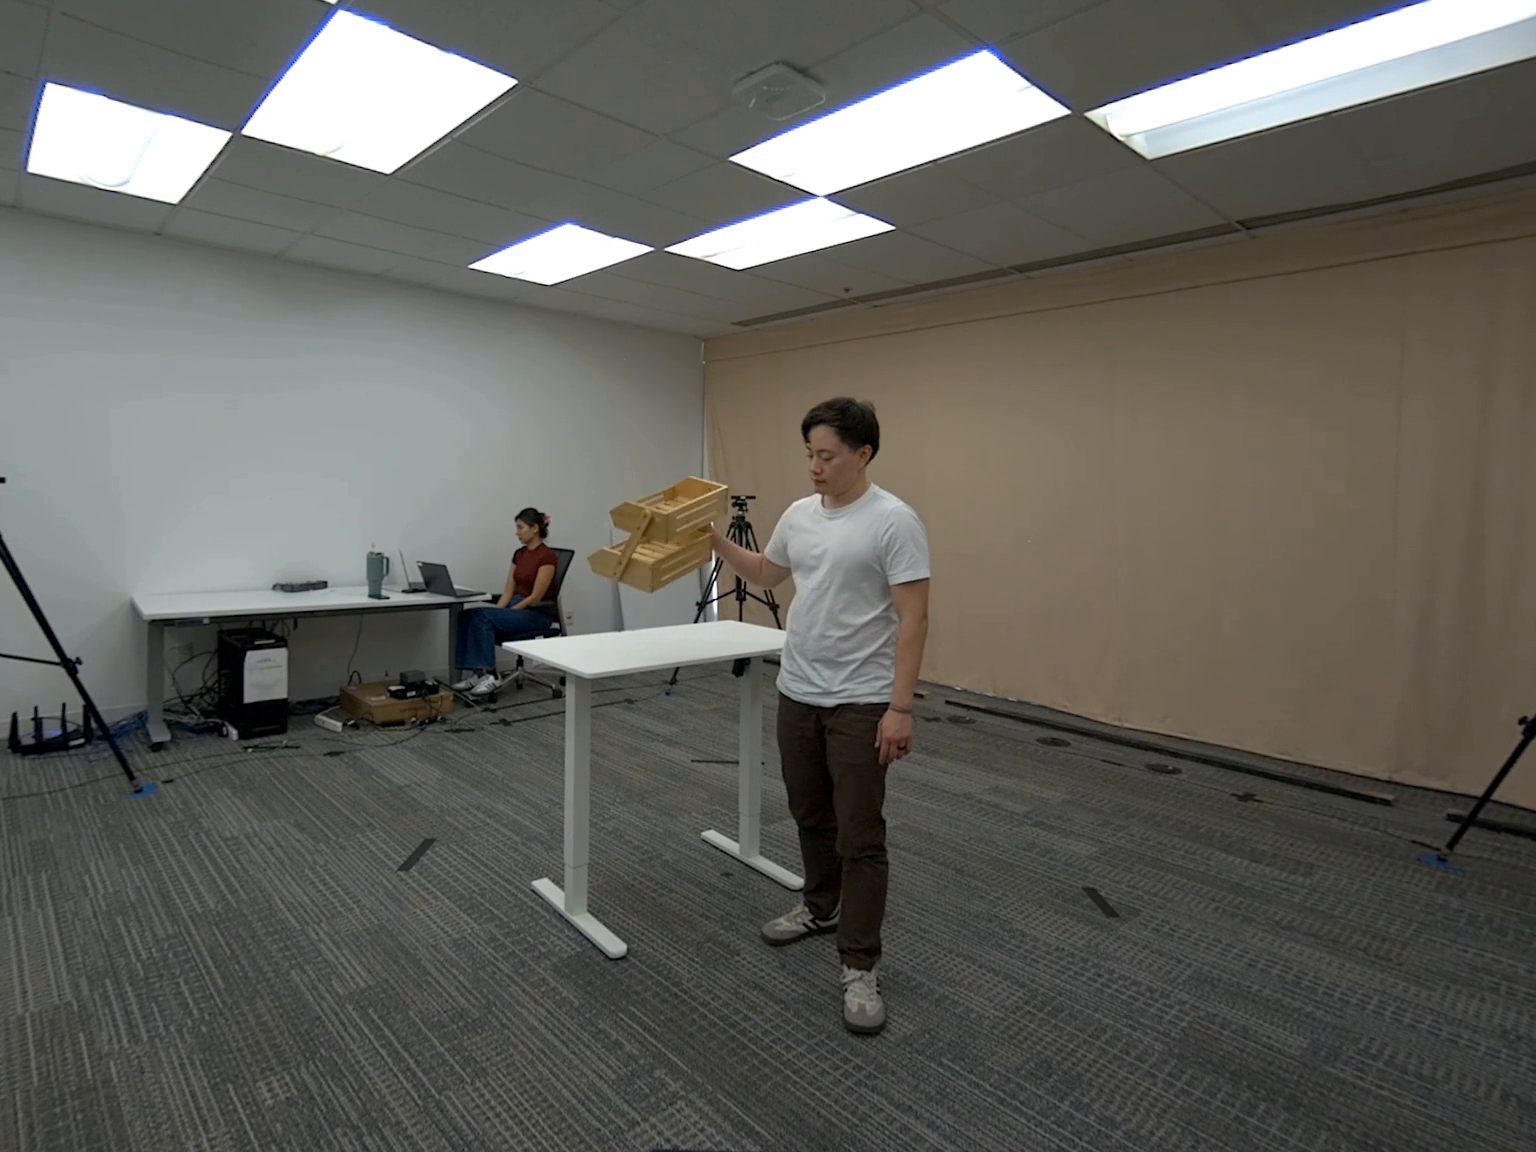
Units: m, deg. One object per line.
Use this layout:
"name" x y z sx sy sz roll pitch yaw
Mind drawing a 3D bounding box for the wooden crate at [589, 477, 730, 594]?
"wooden crate" -0.330 -0.149 2.533 0.309 0.269 0.321 18 28 28
